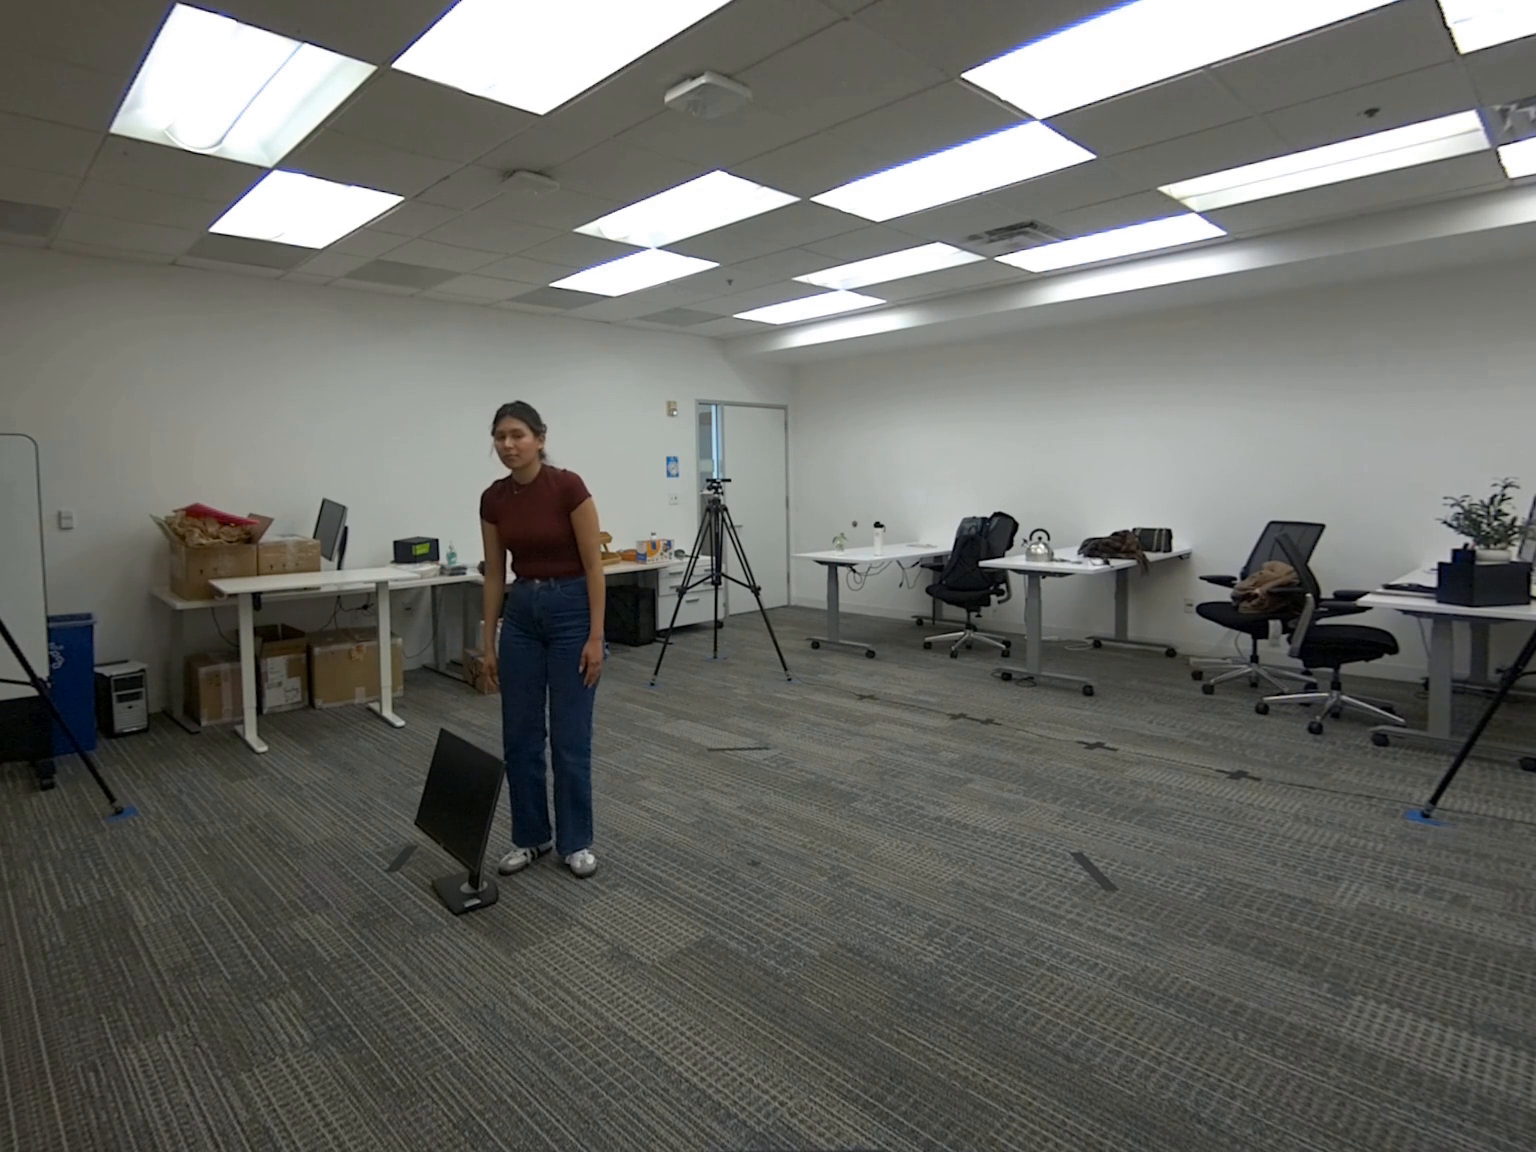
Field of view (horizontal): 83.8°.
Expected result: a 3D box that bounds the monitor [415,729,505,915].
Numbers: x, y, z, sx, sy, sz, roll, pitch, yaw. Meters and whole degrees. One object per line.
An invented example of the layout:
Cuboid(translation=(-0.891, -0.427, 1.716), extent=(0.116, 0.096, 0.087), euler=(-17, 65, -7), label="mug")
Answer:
Cuboid(translation=(-1.028, 0.835, 2.911), extent=(0.182, 0.521, 0.556), euler=(-1, 4, -41), label="monitor")
